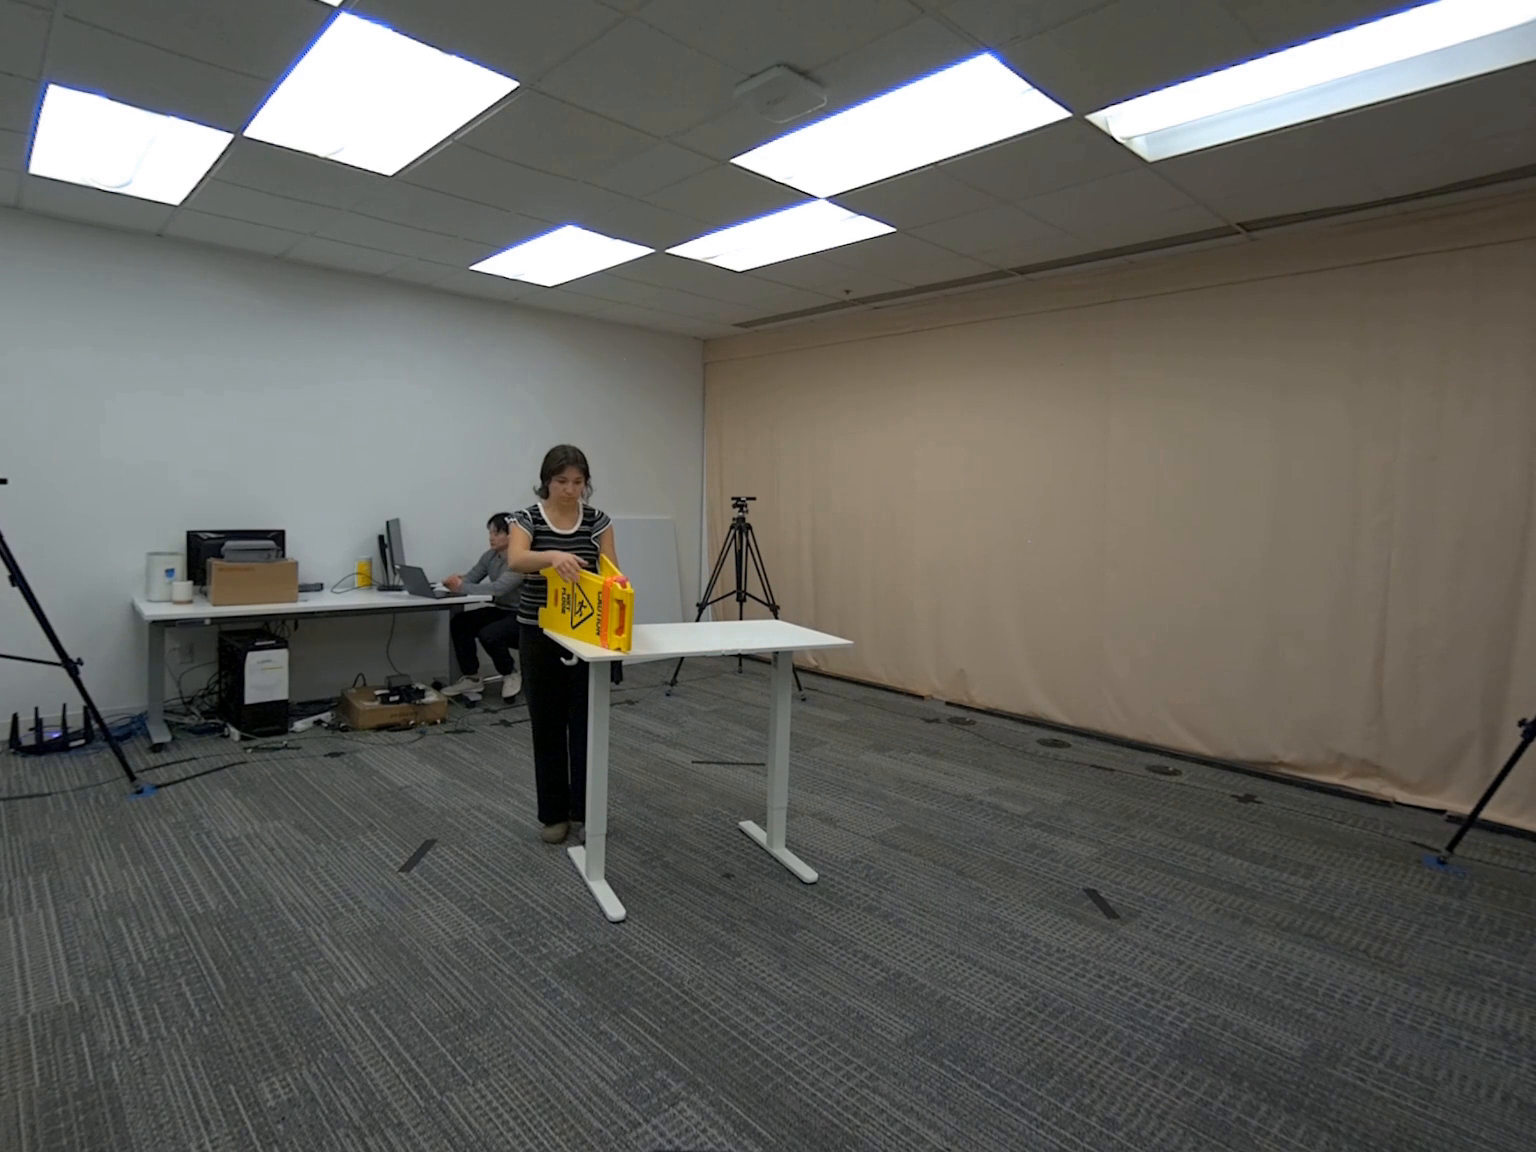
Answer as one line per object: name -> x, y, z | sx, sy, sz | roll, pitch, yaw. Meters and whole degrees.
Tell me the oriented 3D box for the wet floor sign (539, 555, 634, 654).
wet floor sign -> -0.600, 0.102, 2.954 | 0.284, 0.281, 0.662 | -1, 8, -30
